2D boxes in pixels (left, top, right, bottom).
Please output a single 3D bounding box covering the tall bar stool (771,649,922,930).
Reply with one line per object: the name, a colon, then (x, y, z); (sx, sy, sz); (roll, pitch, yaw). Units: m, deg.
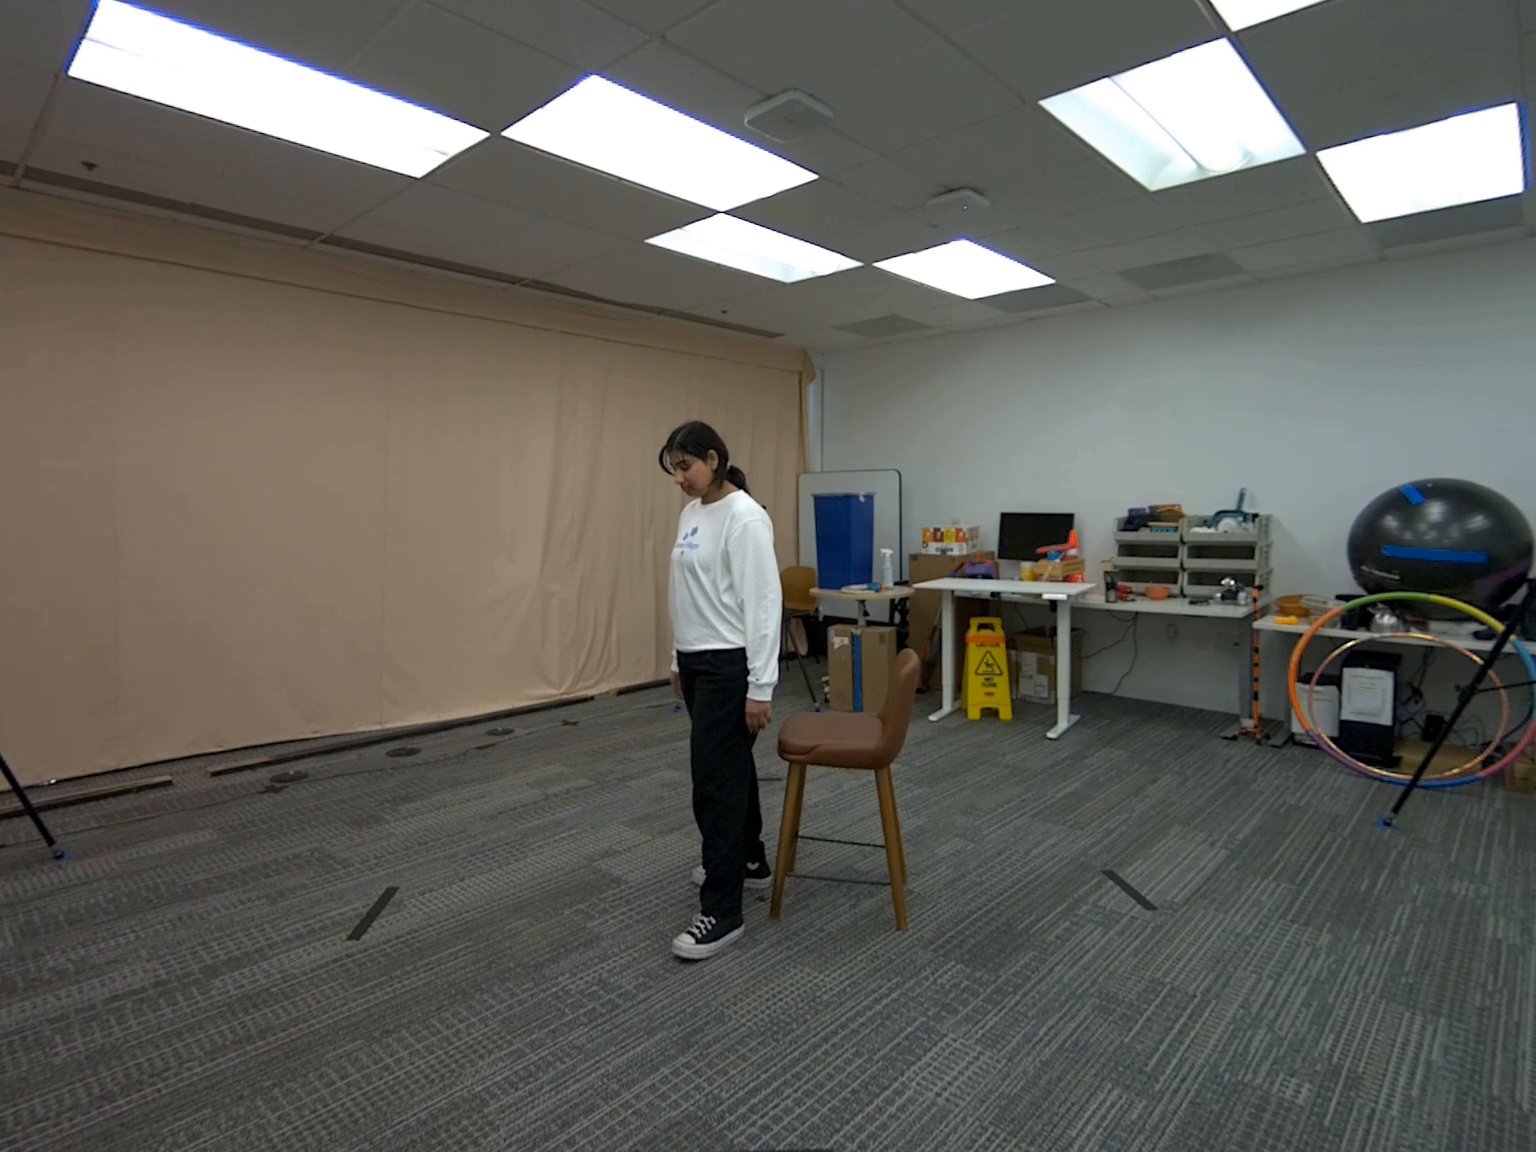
tall bar stool: (0.277, 0.710, 2.957); (0.474, 0.888, 0.451); (2, 4, 12)
